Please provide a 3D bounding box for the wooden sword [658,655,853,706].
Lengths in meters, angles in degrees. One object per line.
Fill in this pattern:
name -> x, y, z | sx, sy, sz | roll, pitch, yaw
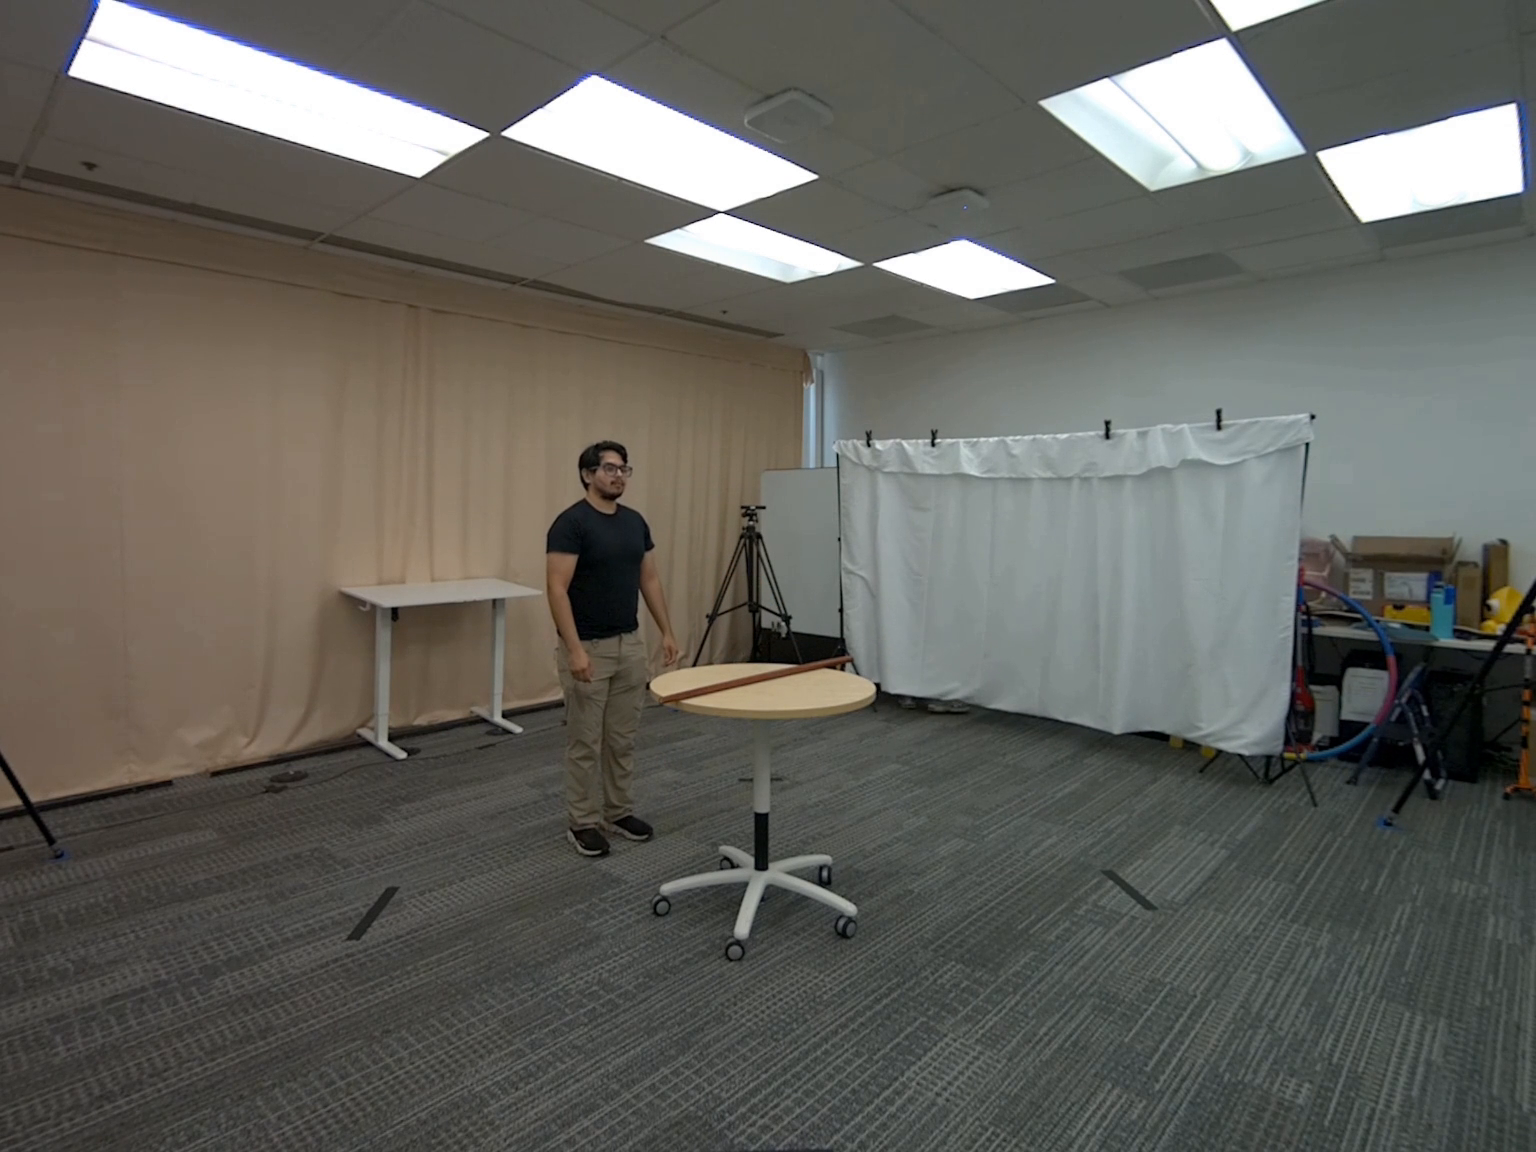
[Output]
wooden sword -> 0.007, 0.368, 2.920 | 0.993, 0.051, 0.025 | -4, 37, -48
